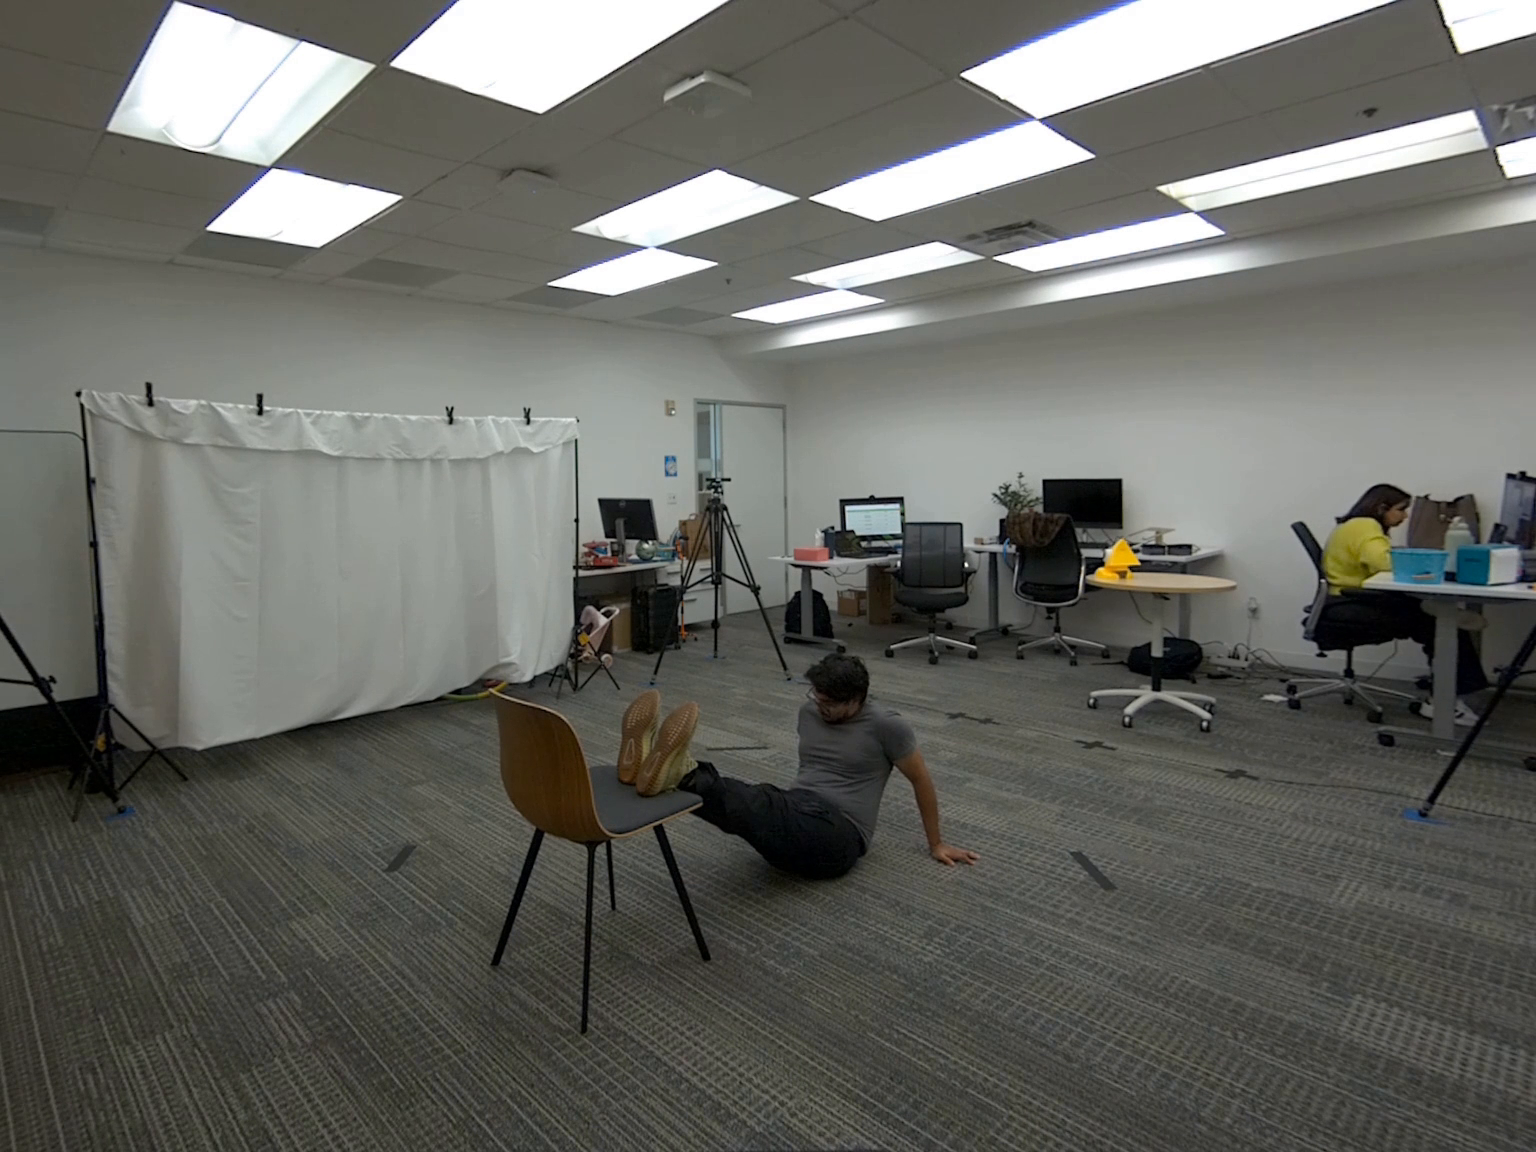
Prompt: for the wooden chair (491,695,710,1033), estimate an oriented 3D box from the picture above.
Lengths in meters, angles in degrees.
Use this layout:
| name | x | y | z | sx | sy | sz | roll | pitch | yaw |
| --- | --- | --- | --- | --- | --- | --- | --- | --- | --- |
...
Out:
| name | x | y | z | sx | sy | sz | roll | pitch | yaw |
| --- | --- | --- | --- | --- | --- | --- | --- | --- | --- |
| wooden chair | -0.482 | 0.704 | 2.451 | 0.493 | 0.871 | 0.511 | 4 | 10 | 43 |
